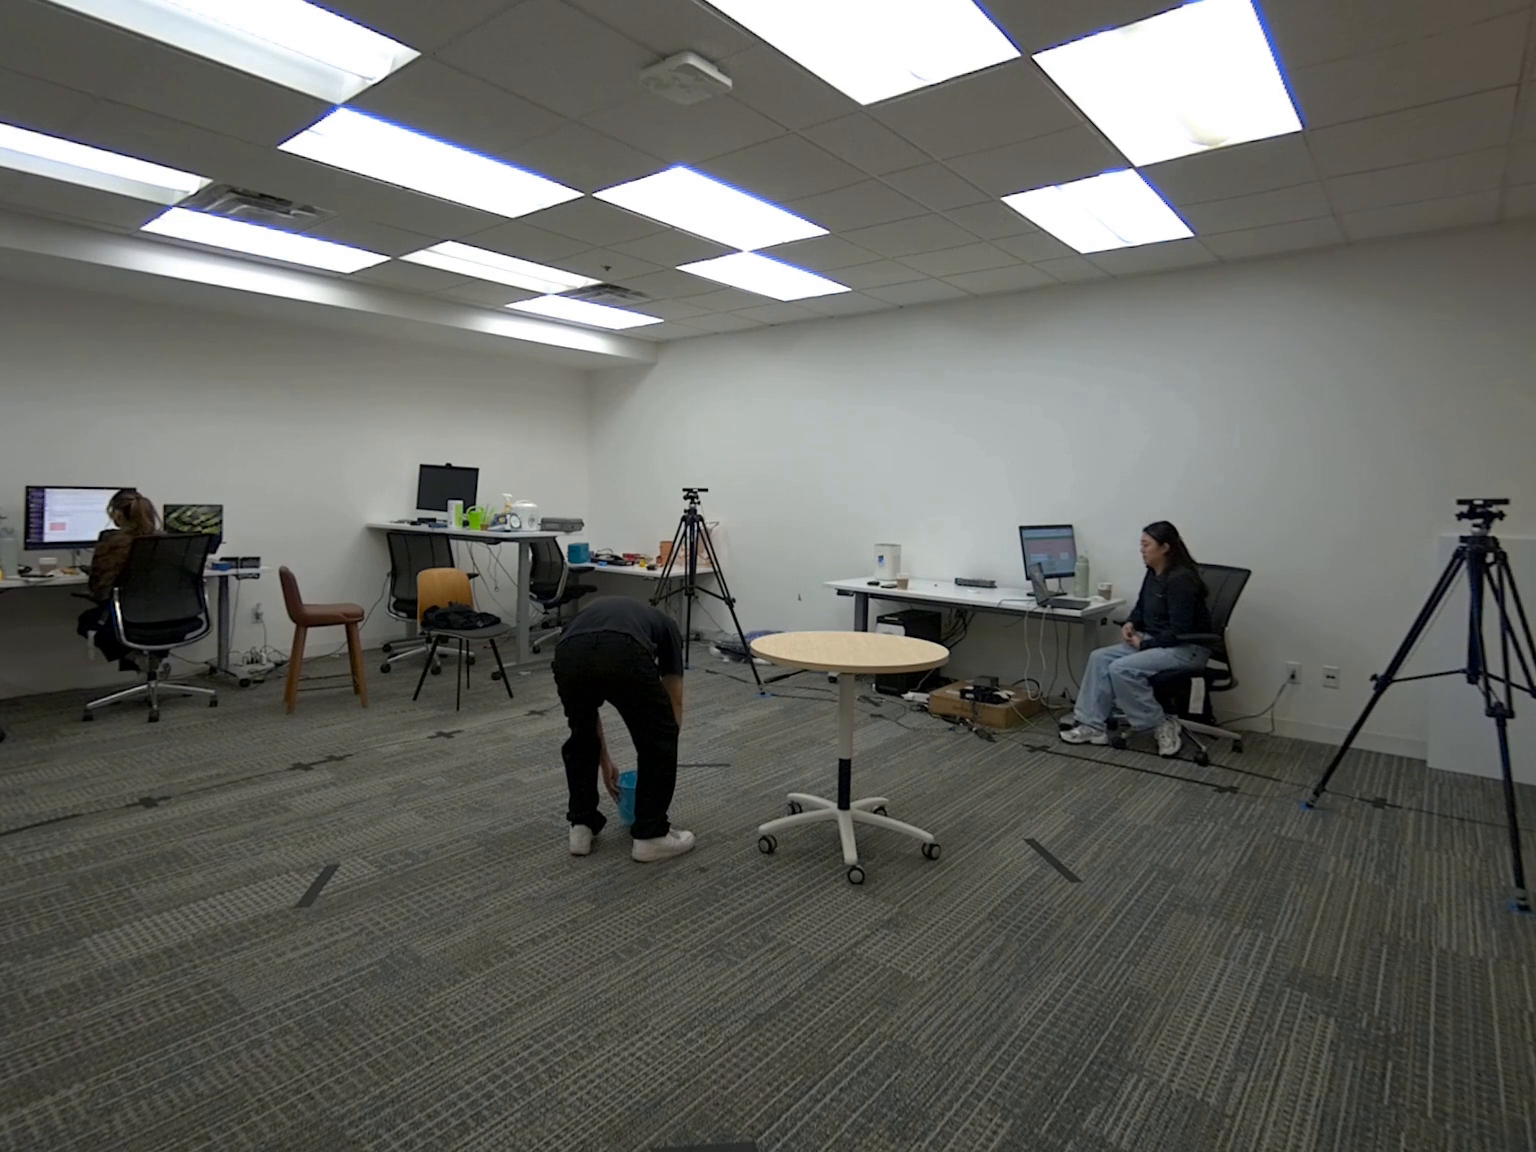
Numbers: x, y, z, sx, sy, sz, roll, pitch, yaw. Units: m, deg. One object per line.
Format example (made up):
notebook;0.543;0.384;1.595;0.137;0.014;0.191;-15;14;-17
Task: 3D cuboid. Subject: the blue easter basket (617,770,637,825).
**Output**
blue easter basket;-0.524;0.905;3.490;0.243;0.155;0.245;-1;4;-2
